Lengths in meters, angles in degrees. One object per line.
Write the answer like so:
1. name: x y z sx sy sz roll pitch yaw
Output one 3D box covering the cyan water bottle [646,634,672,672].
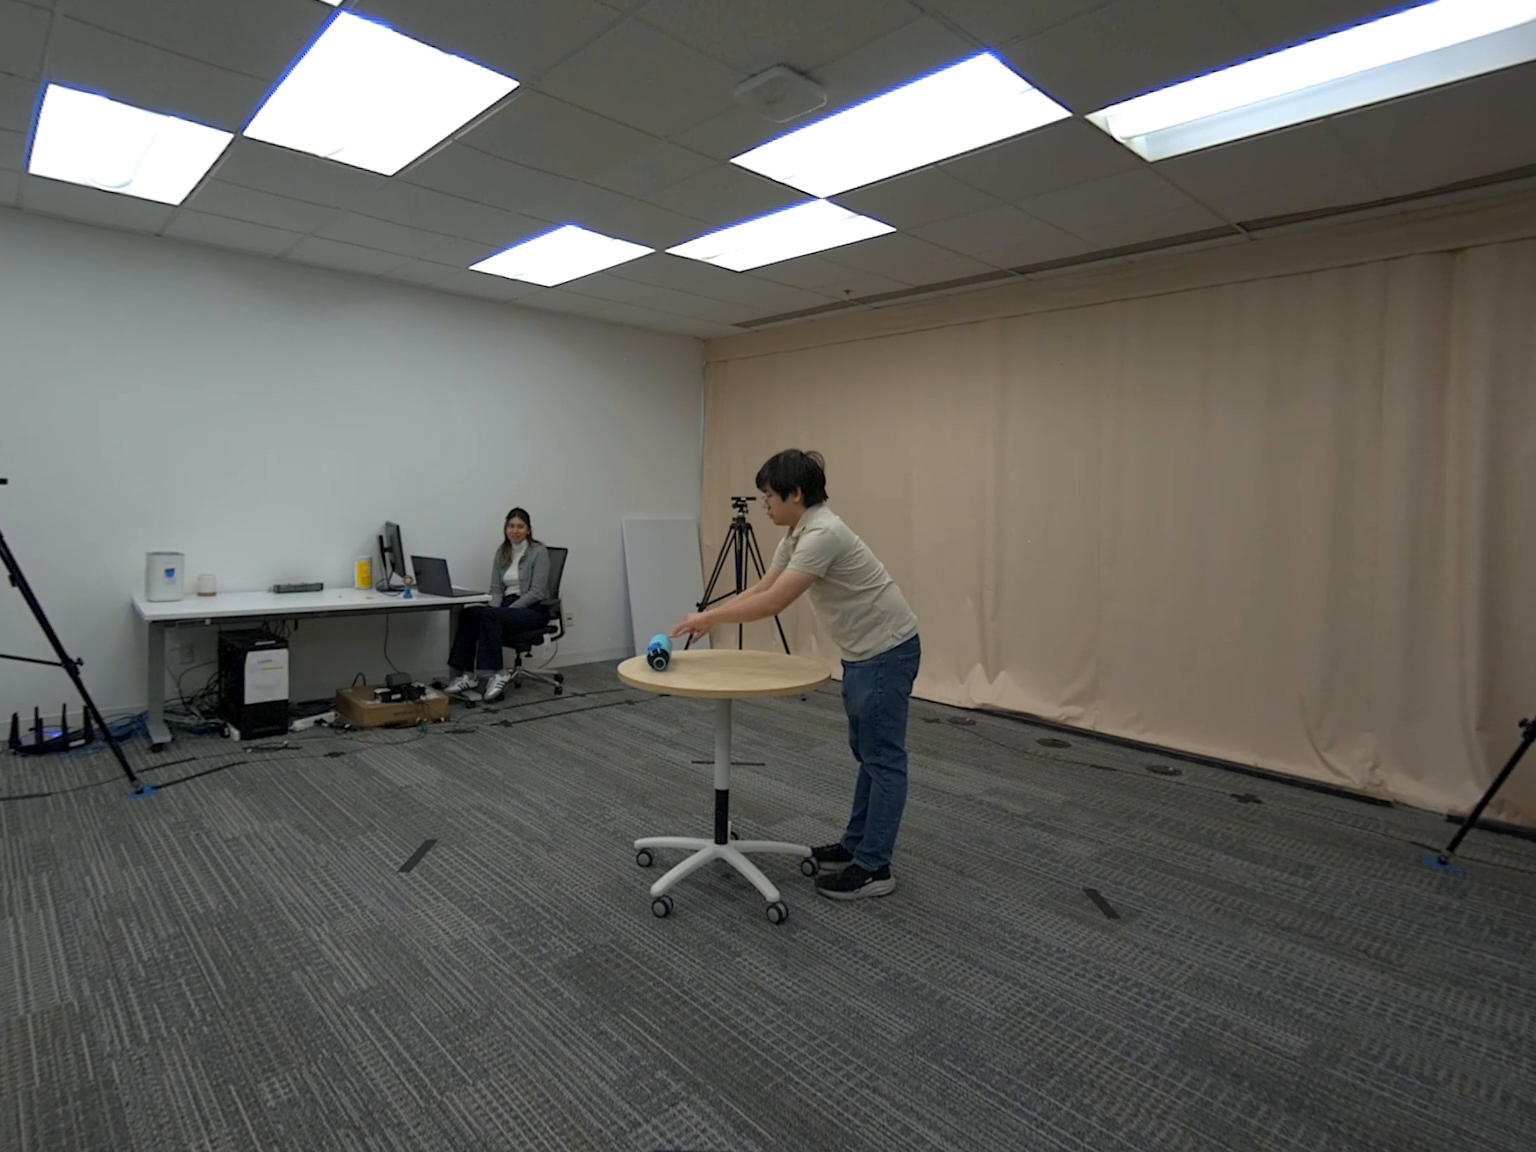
1. cyan water bottle: -0.397 0.279 3.054 0.092 0.092 0.284 1 4 -3
